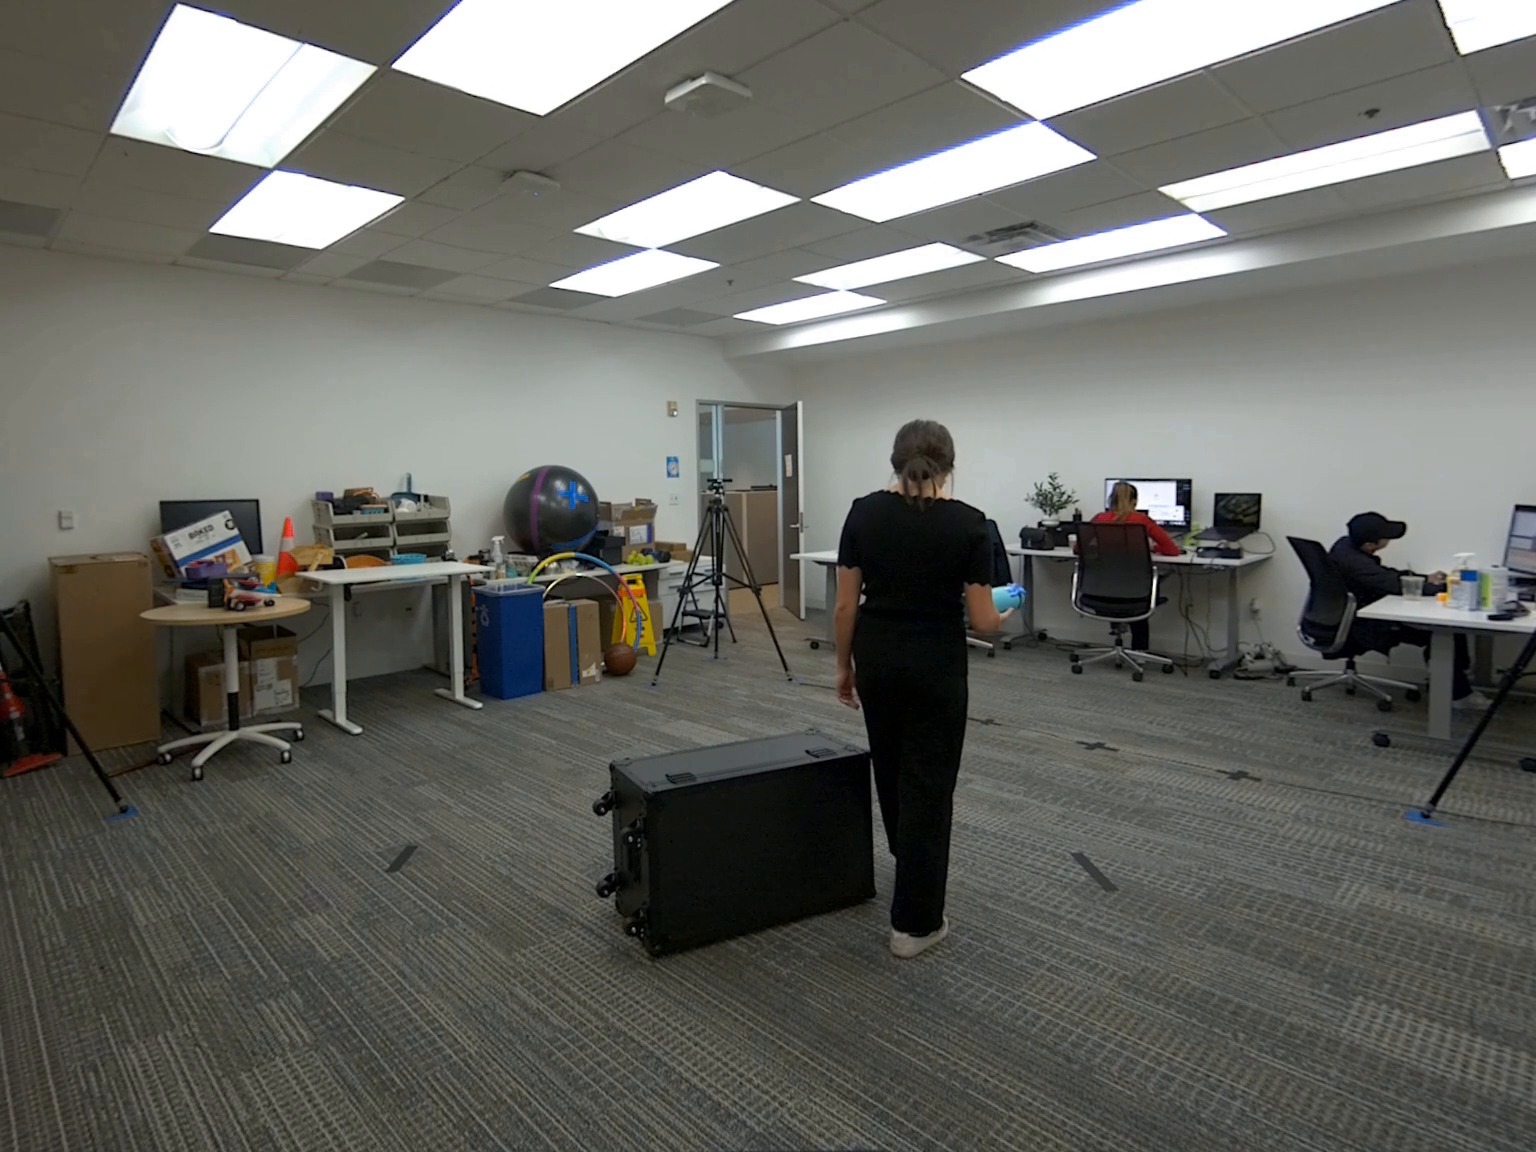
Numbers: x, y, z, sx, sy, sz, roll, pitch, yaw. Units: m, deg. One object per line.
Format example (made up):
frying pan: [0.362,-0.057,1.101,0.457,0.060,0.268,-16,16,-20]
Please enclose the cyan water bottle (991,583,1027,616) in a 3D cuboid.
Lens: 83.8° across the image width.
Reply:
cyan water bottle: [0.715,0.086,2.664,0.277,0.092,0.095,-11,10,-40]
